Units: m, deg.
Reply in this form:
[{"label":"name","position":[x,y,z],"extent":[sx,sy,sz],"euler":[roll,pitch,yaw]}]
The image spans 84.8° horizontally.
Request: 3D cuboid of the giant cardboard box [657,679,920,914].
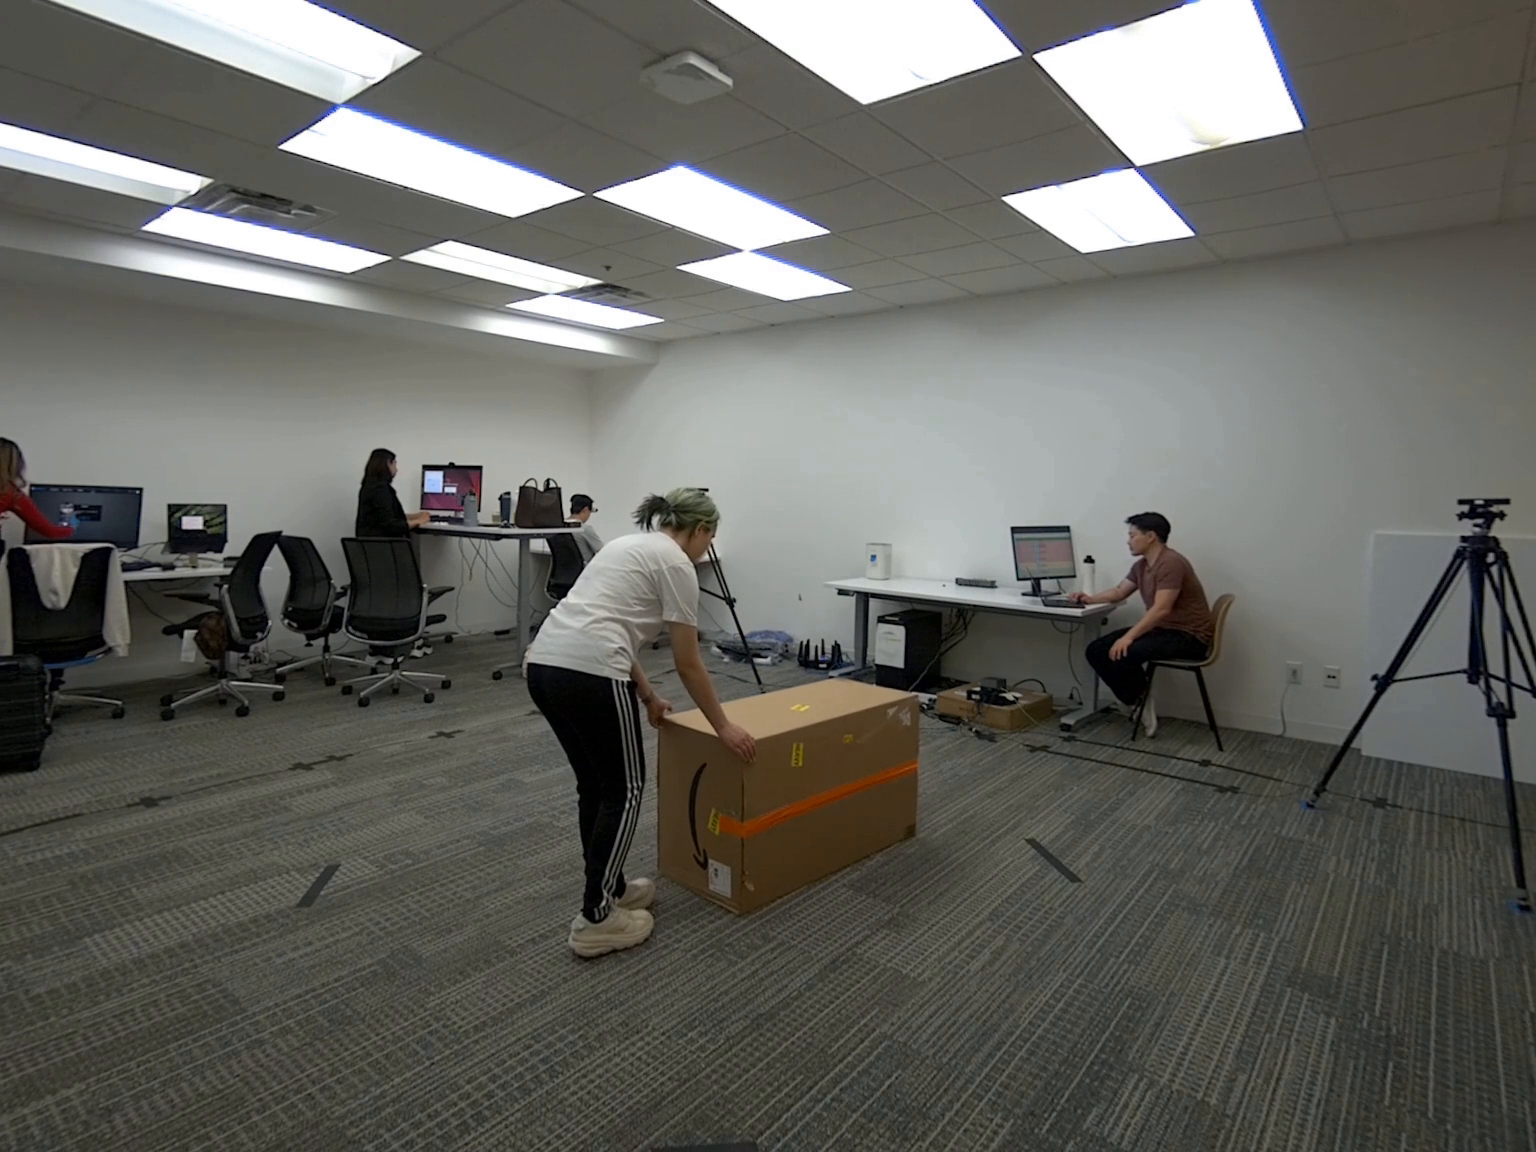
[{"label":"giant cardboard box","position":[0.099,0.774,3.251],"extent":[0.462,0.581,0.996],"euler":[6,7,44]}]
